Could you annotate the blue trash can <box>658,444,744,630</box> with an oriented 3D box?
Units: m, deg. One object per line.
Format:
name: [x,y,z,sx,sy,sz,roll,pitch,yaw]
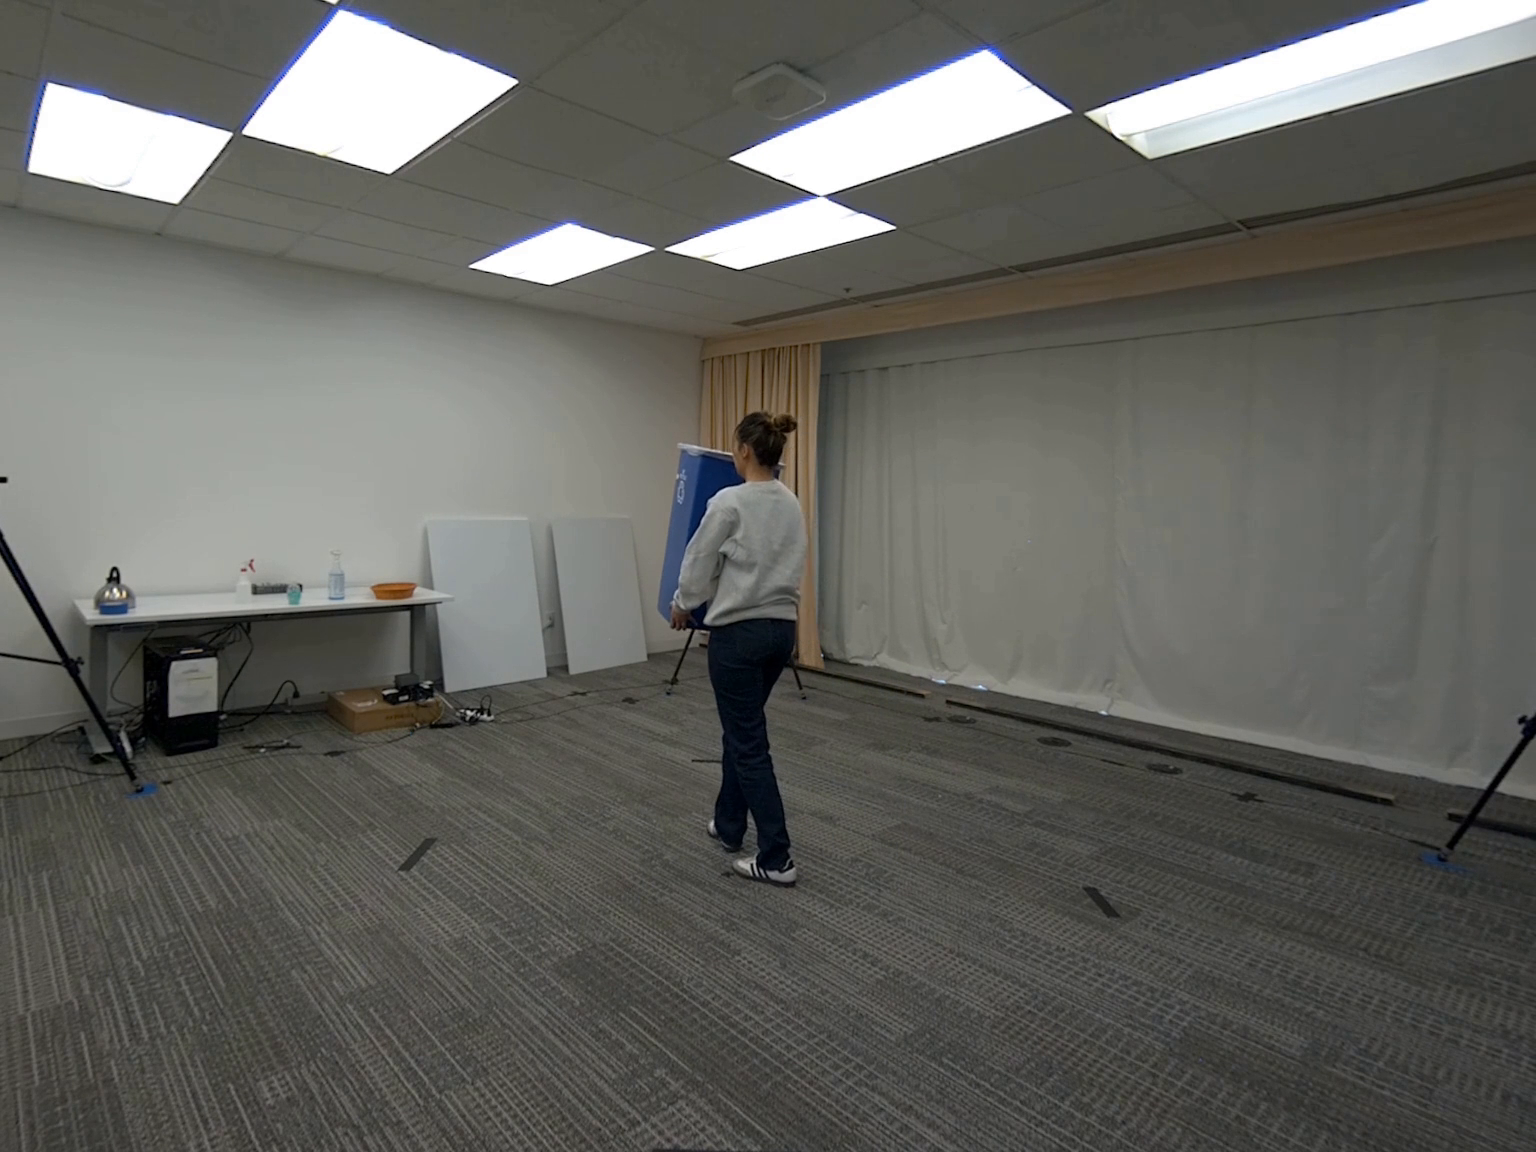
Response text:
blue trash can: [-0.220,-0.158,3.466,0.372,0.711,0.382,8,7,-20]
